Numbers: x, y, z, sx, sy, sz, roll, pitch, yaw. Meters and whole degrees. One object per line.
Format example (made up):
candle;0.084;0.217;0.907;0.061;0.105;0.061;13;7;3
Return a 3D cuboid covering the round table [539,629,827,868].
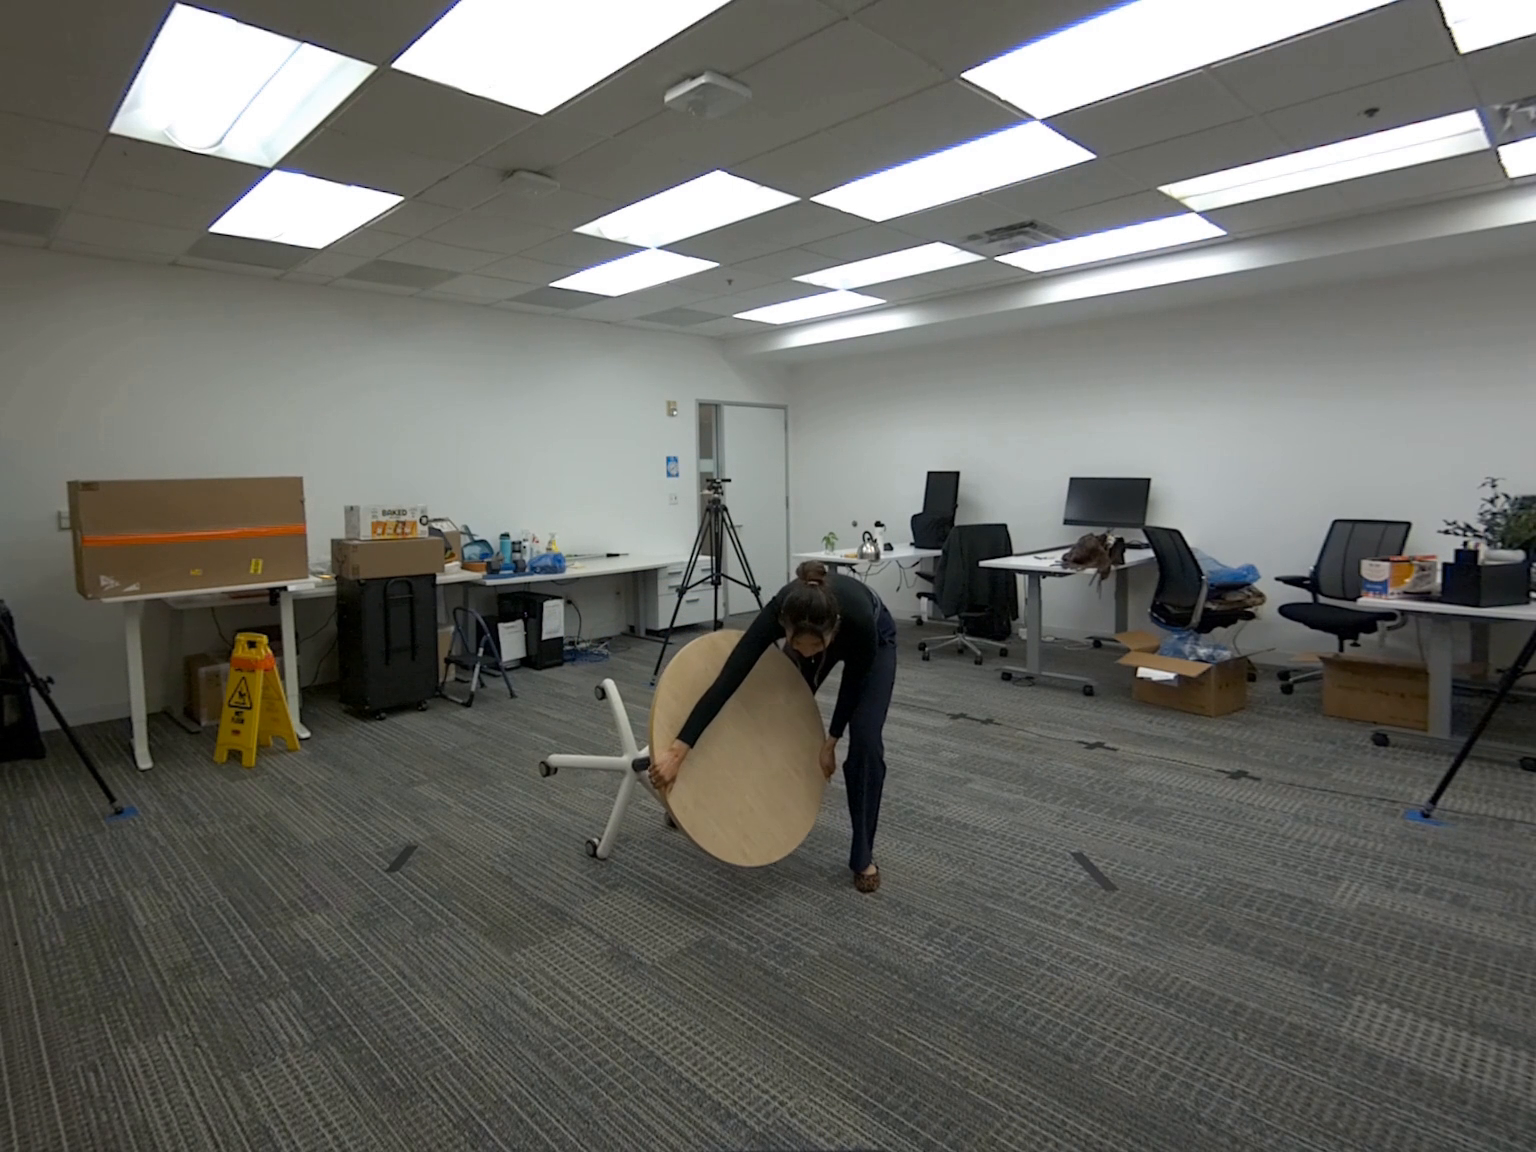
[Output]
round table;-0.331;0.665;3.120;0.744;0.773;0.806;-5;-13;-44
